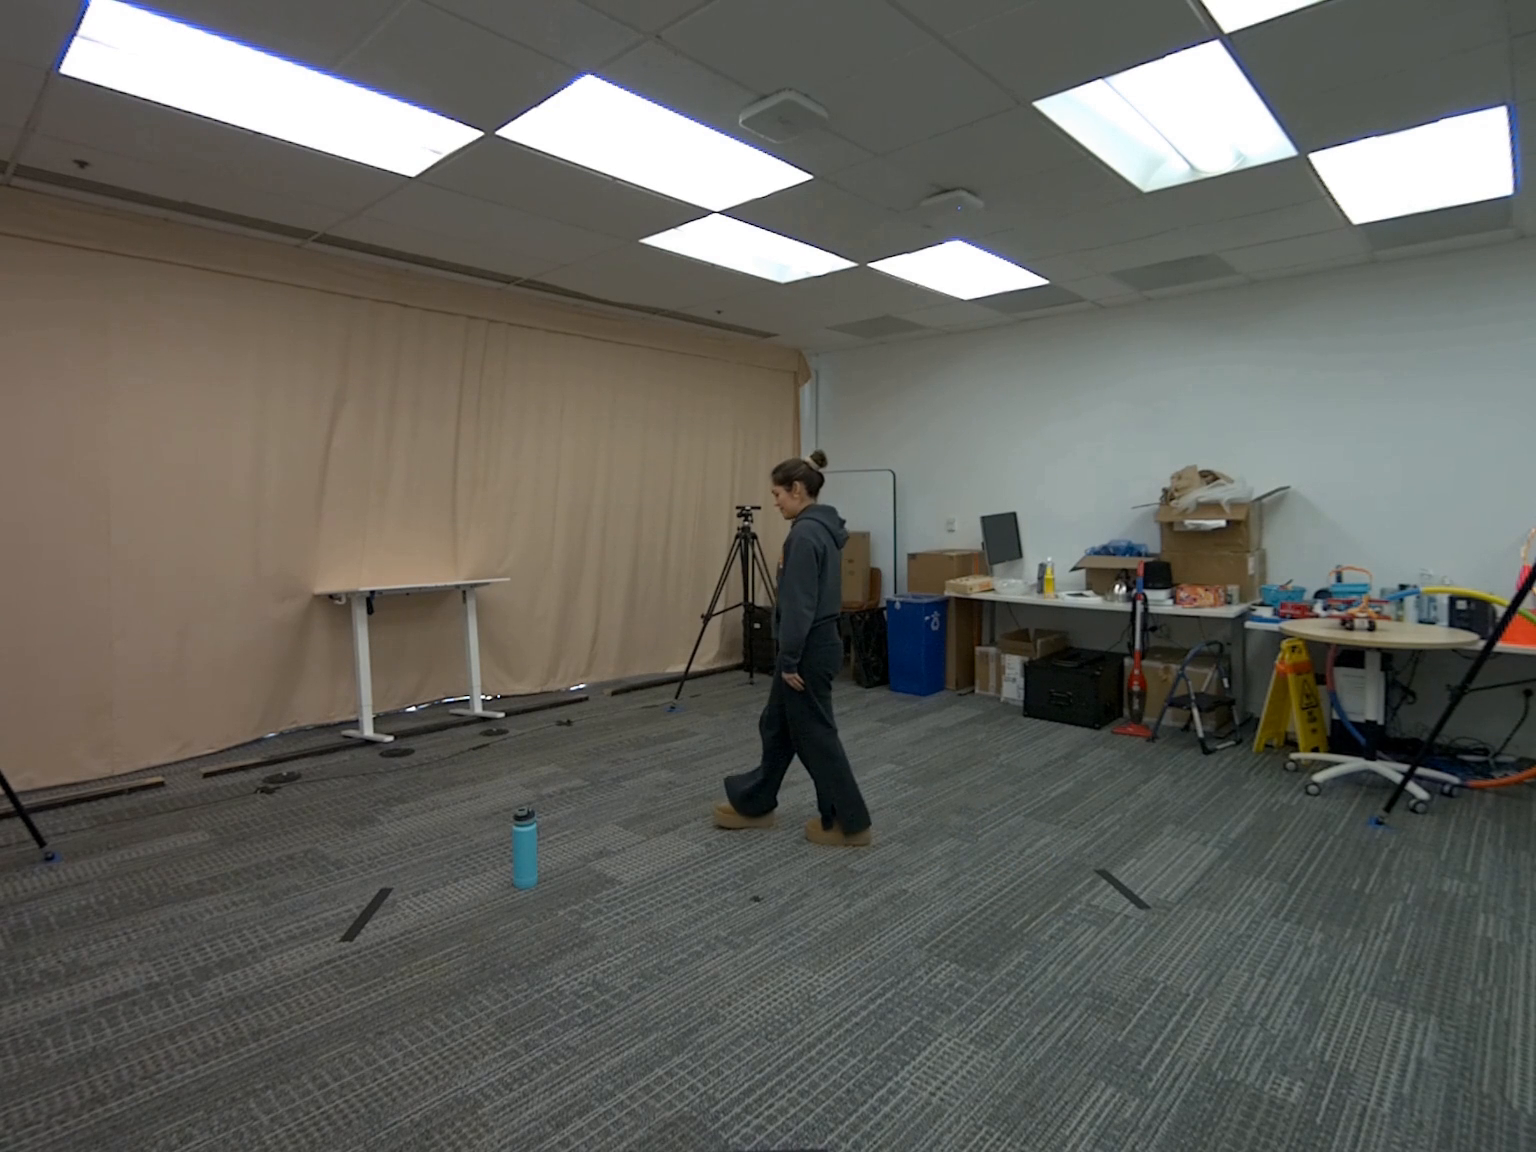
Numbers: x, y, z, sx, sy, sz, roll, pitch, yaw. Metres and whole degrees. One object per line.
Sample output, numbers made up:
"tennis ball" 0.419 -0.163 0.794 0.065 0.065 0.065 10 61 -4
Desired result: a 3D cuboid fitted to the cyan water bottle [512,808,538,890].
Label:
"cyan water bottle" -0.885 1.010 3.122 0.092 0.283 0.092 -1 2 -2
